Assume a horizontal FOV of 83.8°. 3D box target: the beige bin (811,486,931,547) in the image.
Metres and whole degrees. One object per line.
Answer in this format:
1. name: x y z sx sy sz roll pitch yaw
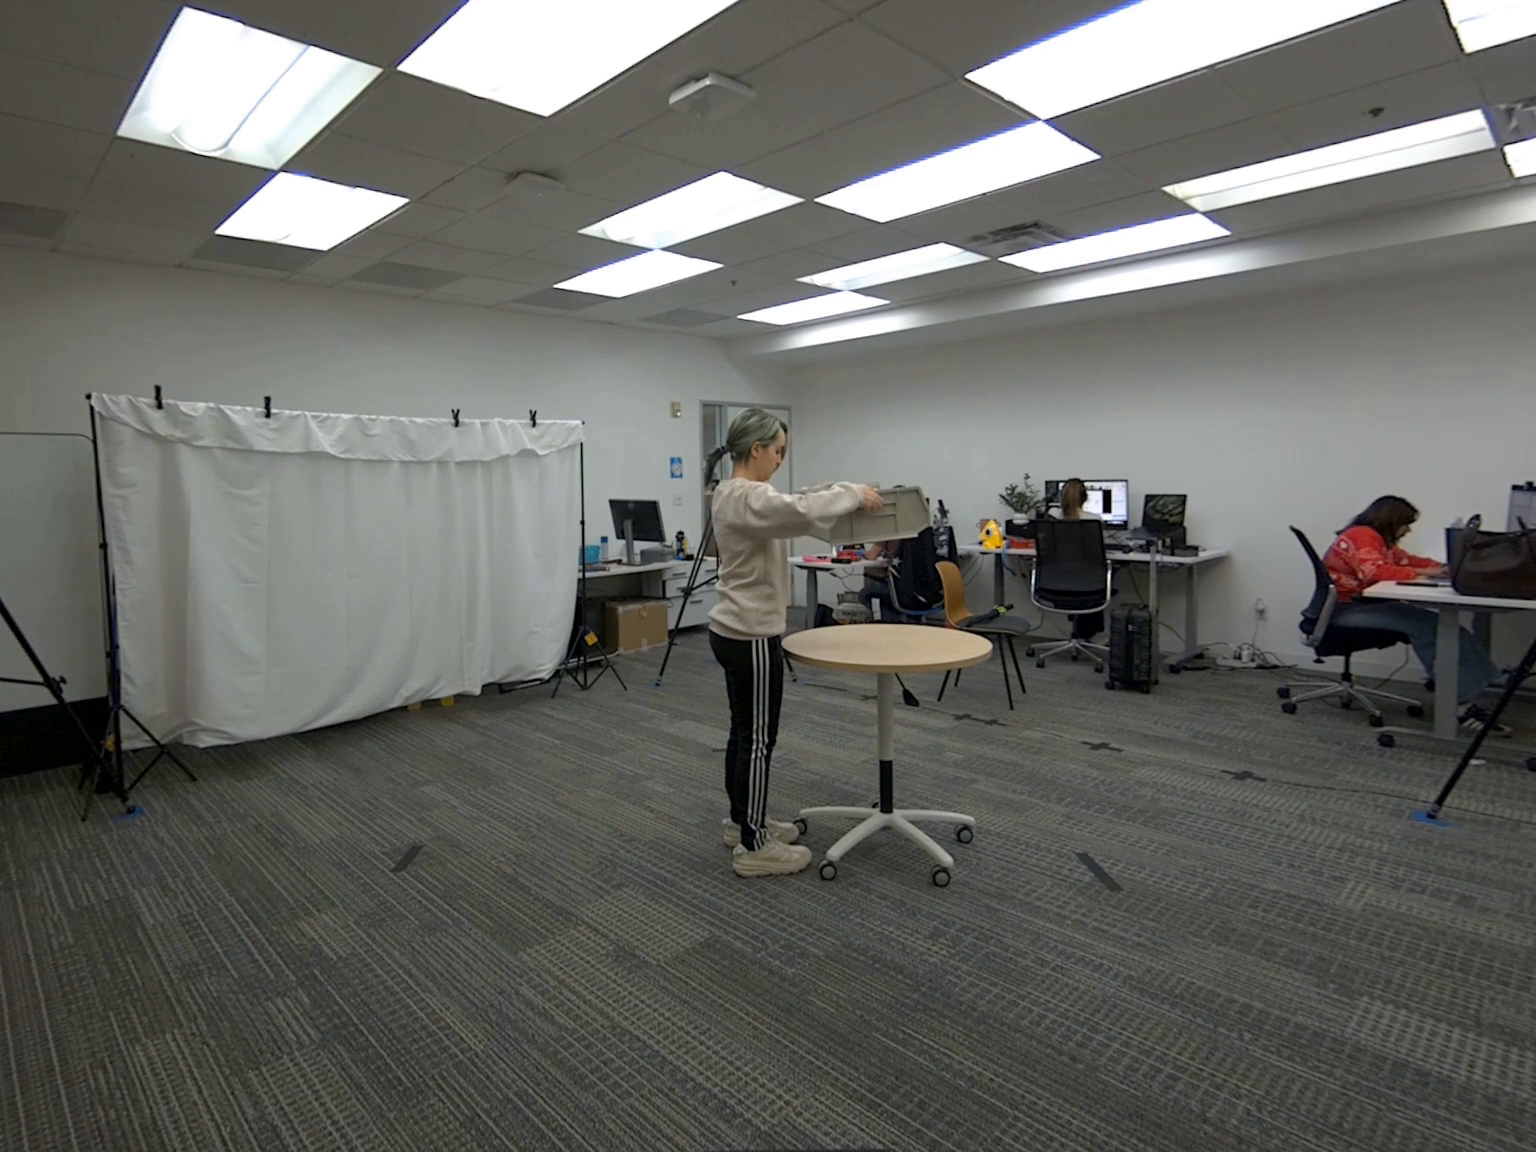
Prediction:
1. beige bin: 0.346 -0.228 3.161 0.374 0.187 0.429 -8 8 -11
